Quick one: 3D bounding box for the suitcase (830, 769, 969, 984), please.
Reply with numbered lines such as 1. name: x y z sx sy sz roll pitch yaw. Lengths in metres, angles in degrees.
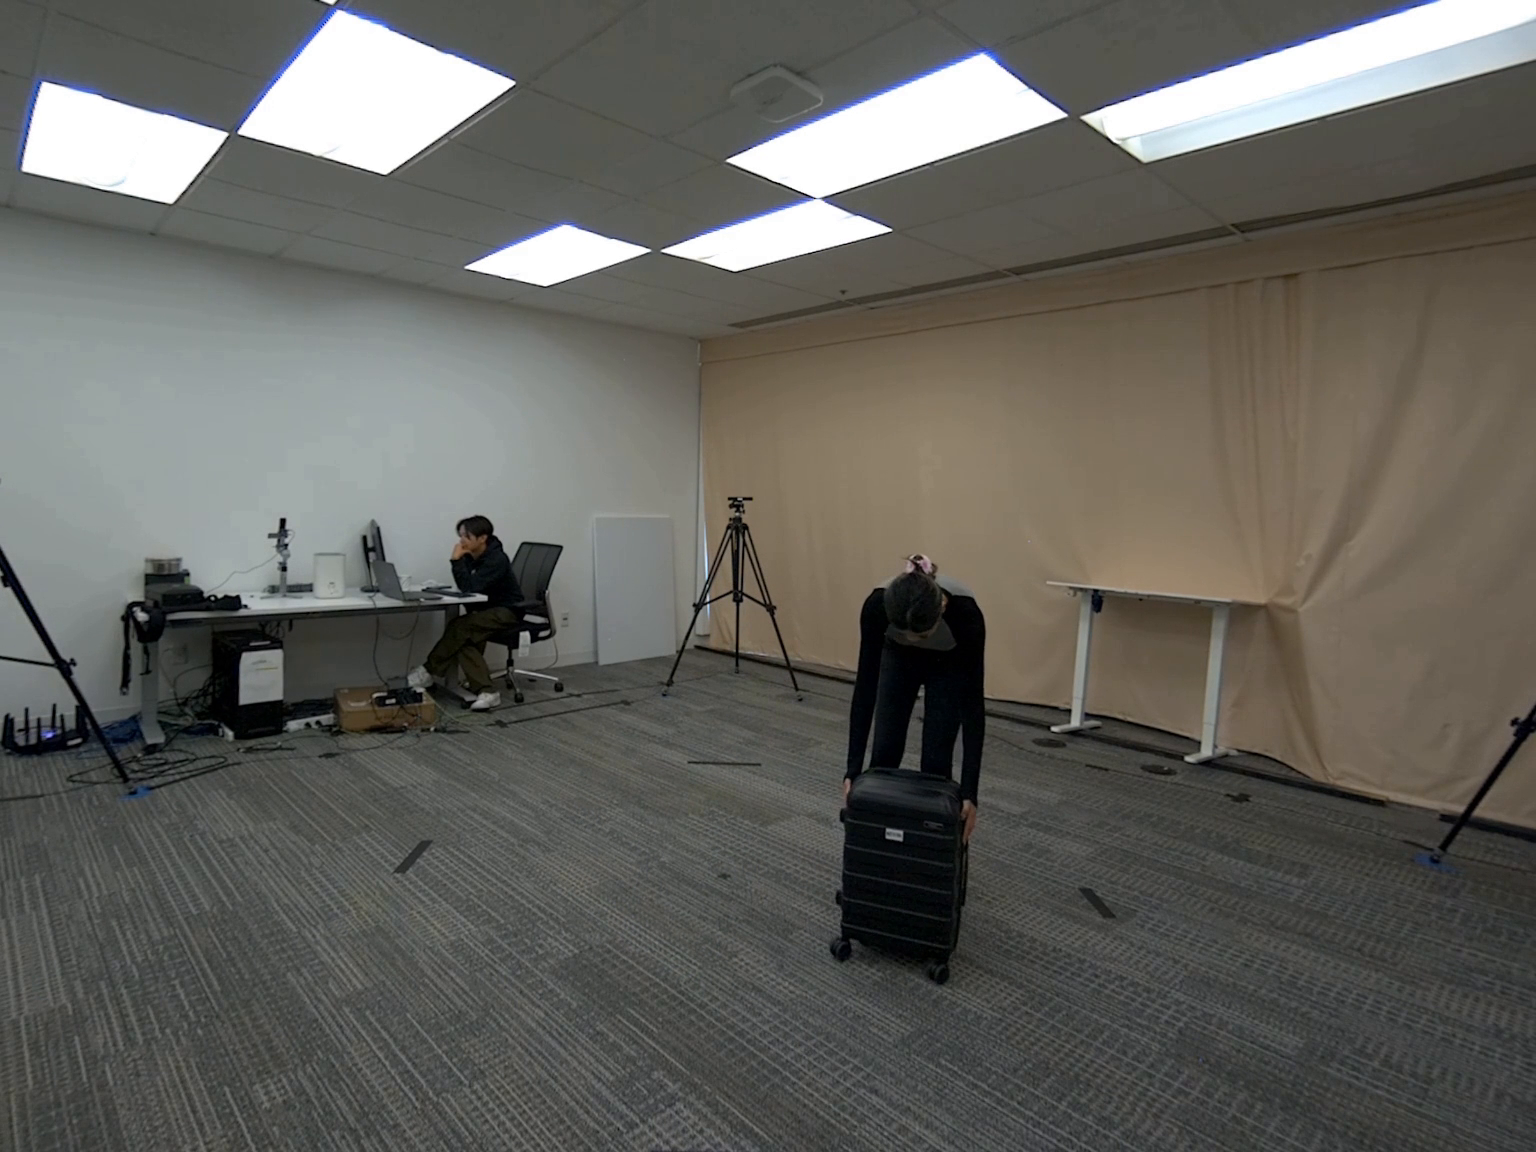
1. suitcase: 0.414 0.893 2.601 0.382 0.548 0.245 4 3 20
